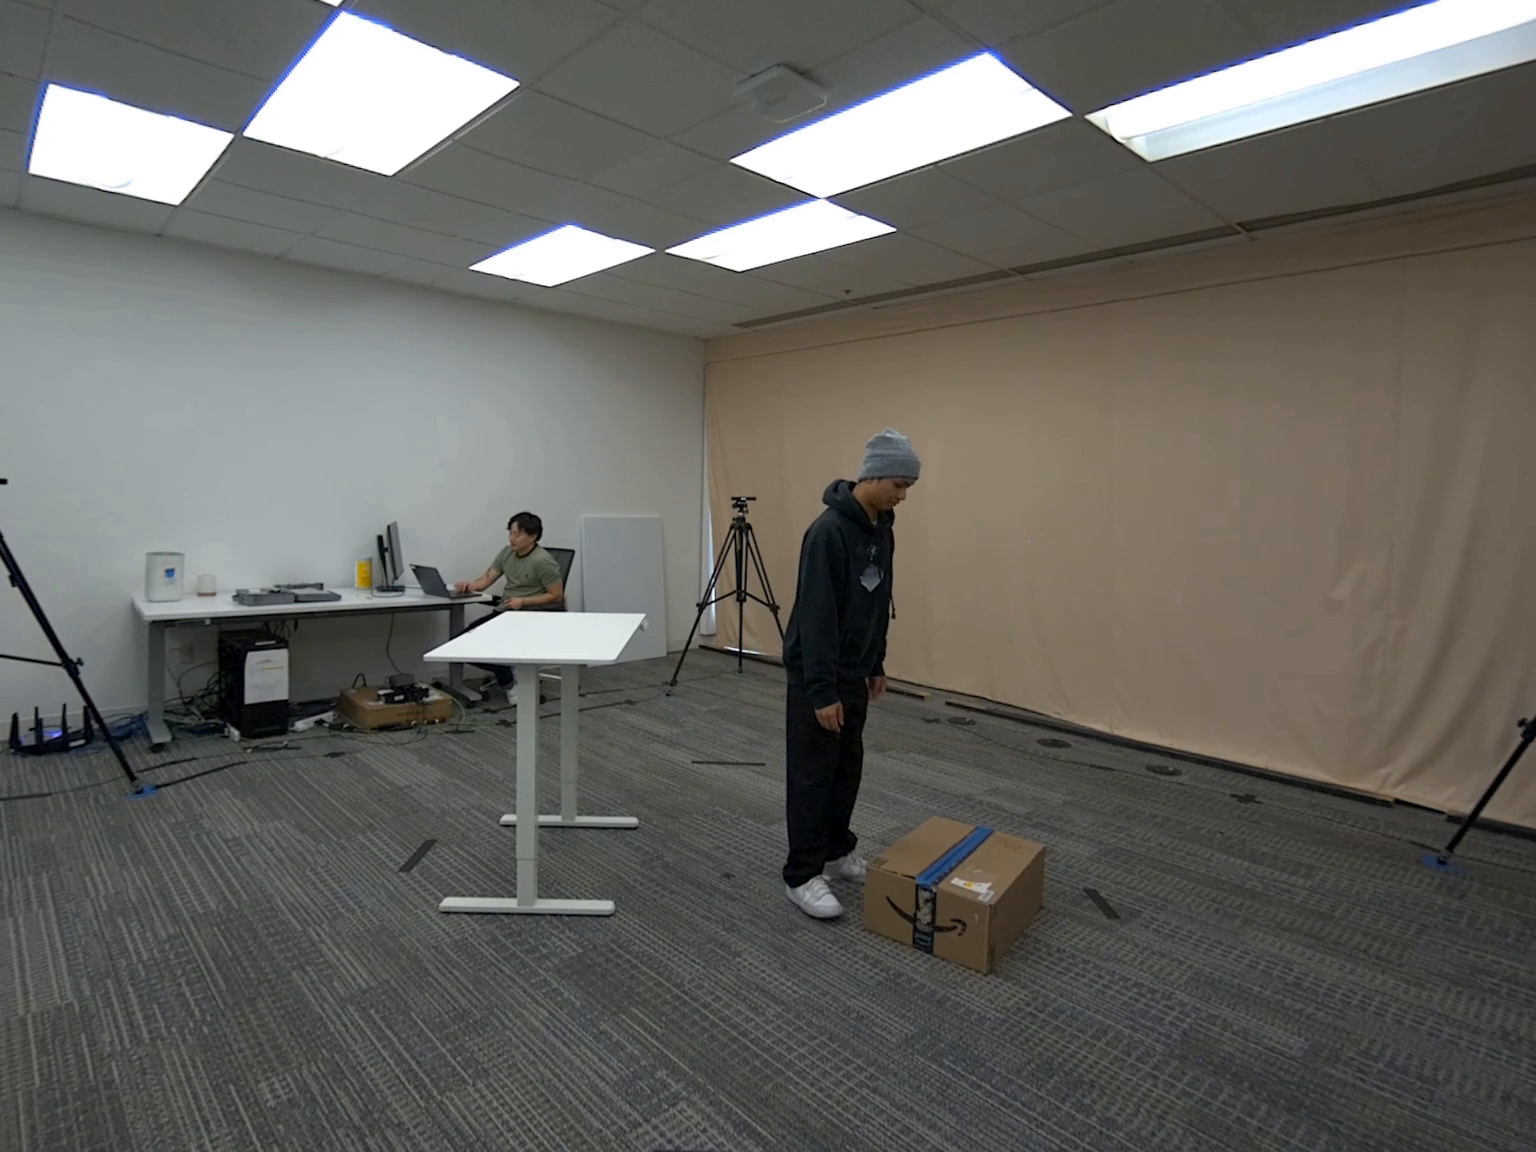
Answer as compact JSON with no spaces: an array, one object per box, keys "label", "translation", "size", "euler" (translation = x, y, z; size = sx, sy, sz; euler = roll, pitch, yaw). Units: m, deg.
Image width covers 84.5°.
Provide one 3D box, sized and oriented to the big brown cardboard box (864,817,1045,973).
[{"label":"big brown cardboard box","translation":[0.627,1.038,2.829],"size":[0.427,0.232,0.576],"euler":[5,6,34]}]
